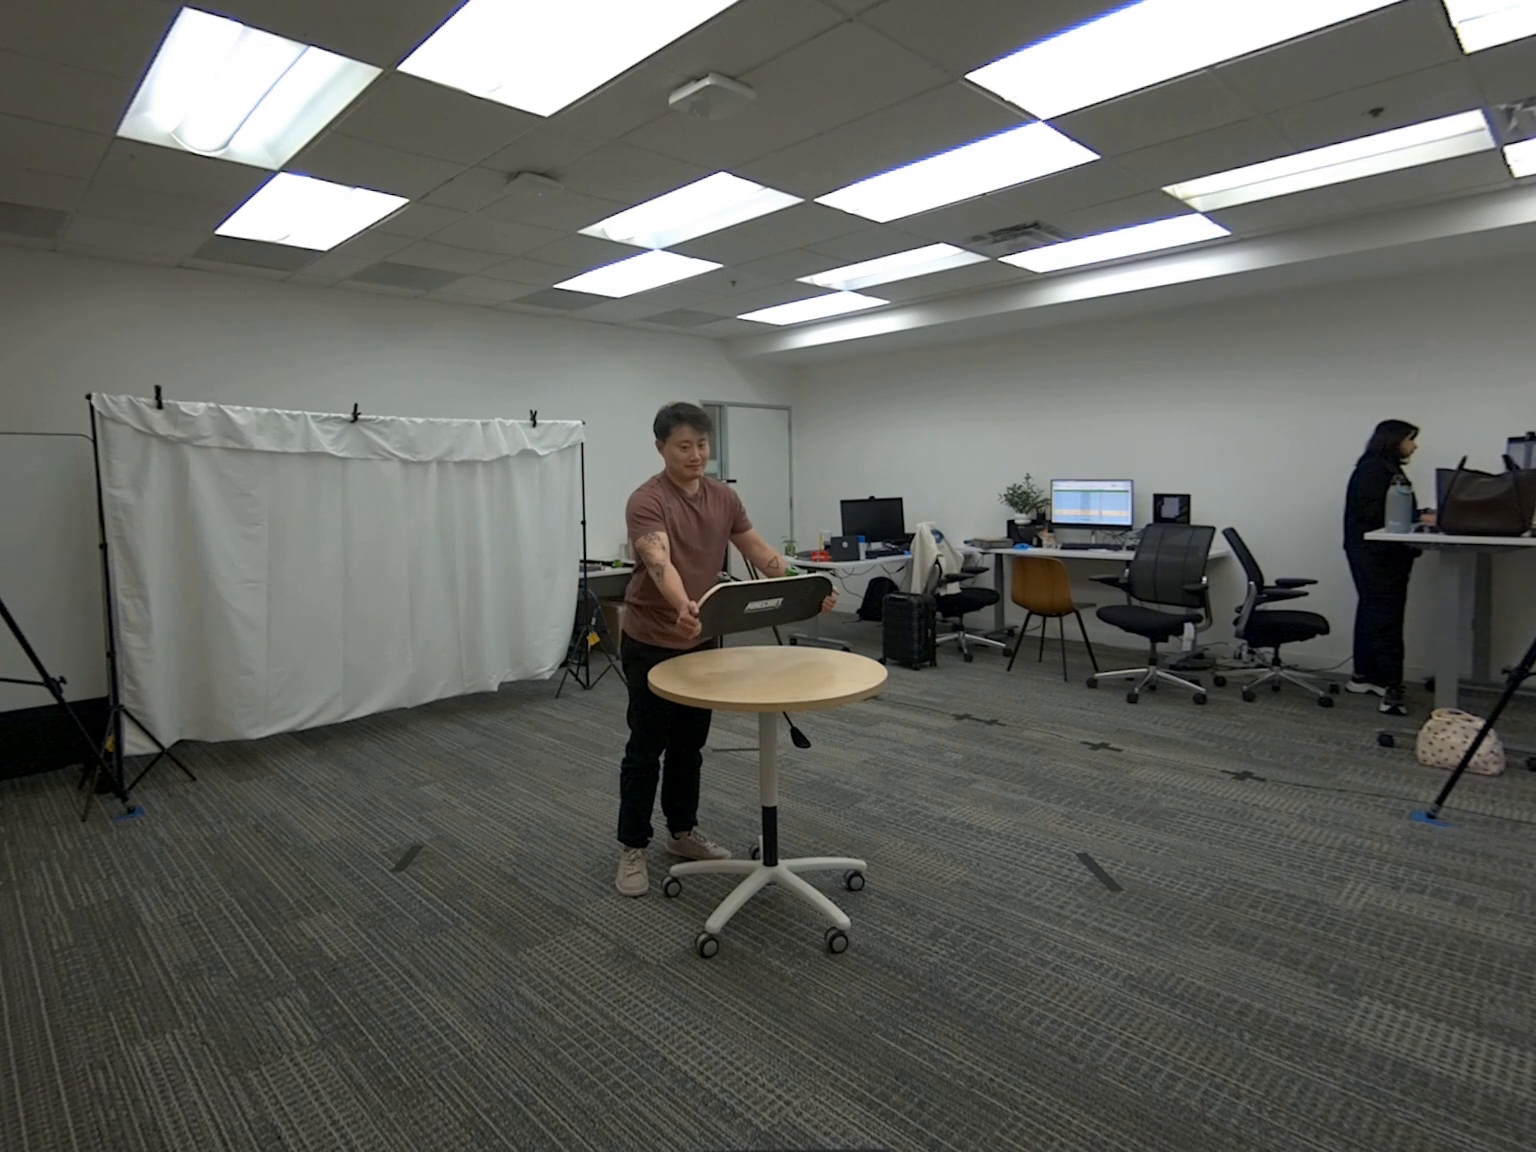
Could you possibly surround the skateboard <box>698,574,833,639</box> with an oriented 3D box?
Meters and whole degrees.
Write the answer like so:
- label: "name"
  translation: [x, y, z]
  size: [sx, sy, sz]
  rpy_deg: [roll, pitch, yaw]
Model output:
- label: "skateboard"
  translation: [-0.036, 0.077, 2.825]
  size: [0.114, 0.192, 0.765]
  rpy_deg: [33, 22, 30]
